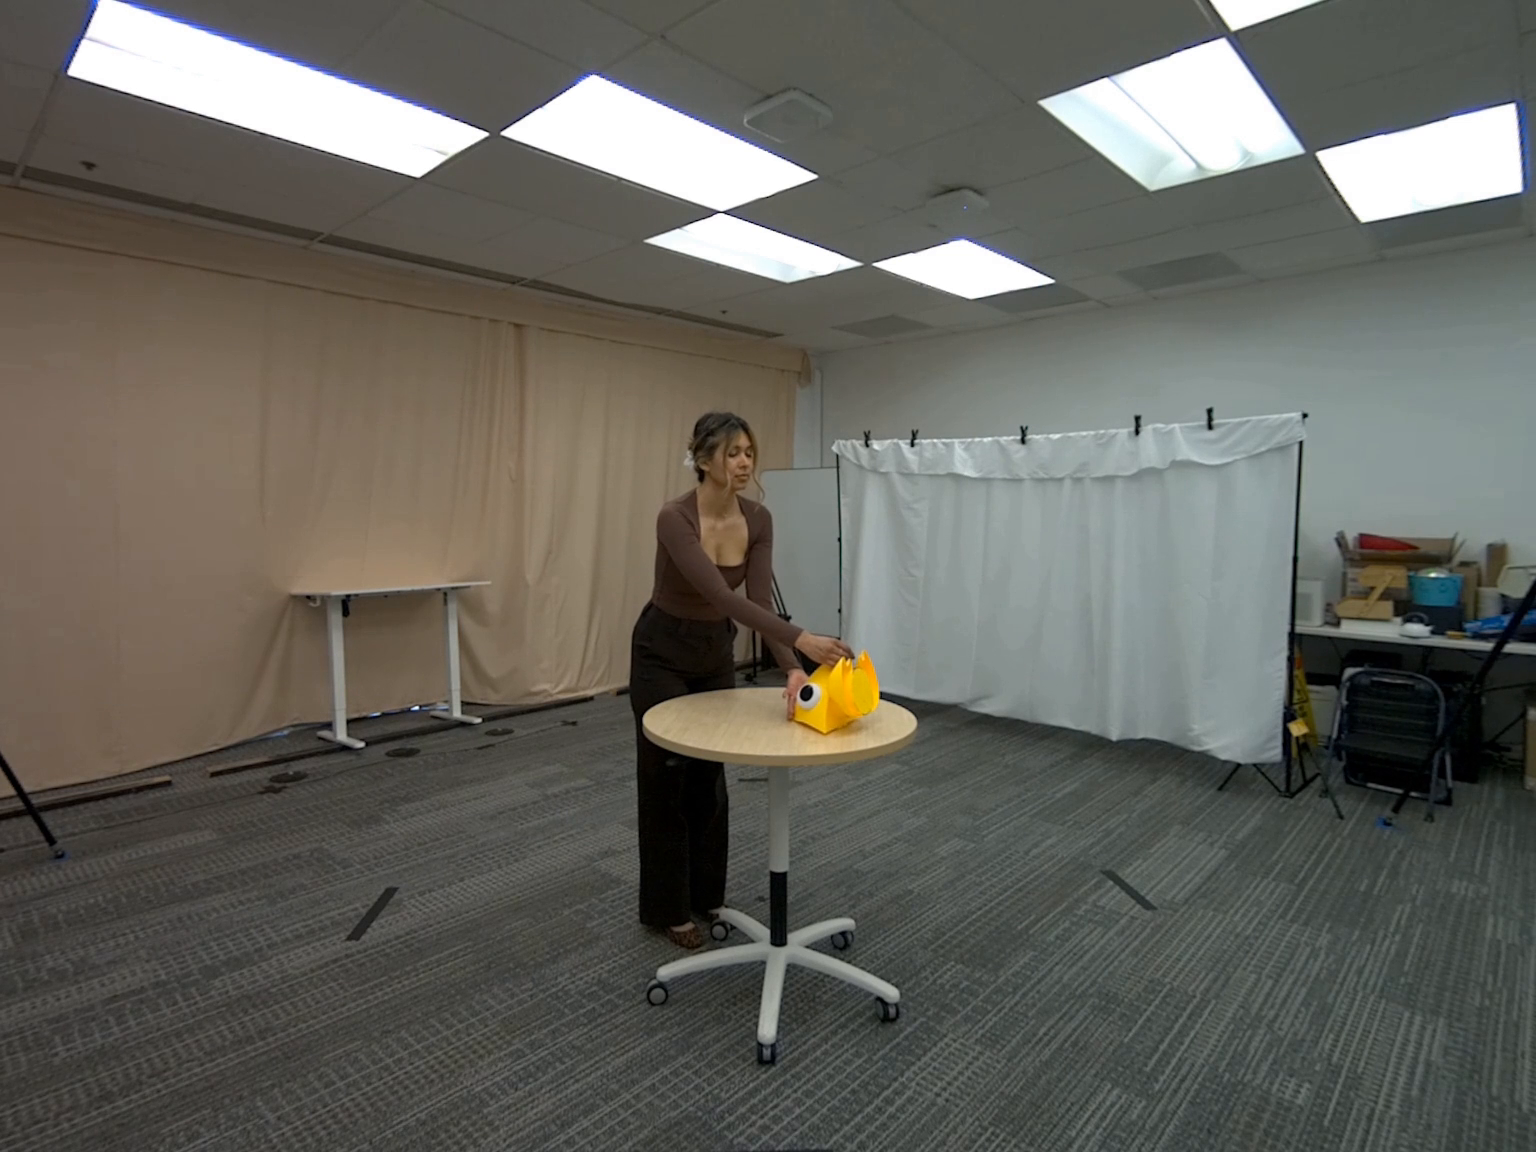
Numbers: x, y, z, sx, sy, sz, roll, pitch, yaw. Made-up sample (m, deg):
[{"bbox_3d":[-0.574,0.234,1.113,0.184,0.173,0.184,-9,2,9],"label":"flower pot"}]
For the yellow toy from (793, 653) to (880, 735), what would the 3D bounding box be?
[{"bbox_3d":[0.160,0.319,2.278,0.236,0.194,0.199,-15,-5,34],"label":"yellow toy"}]
